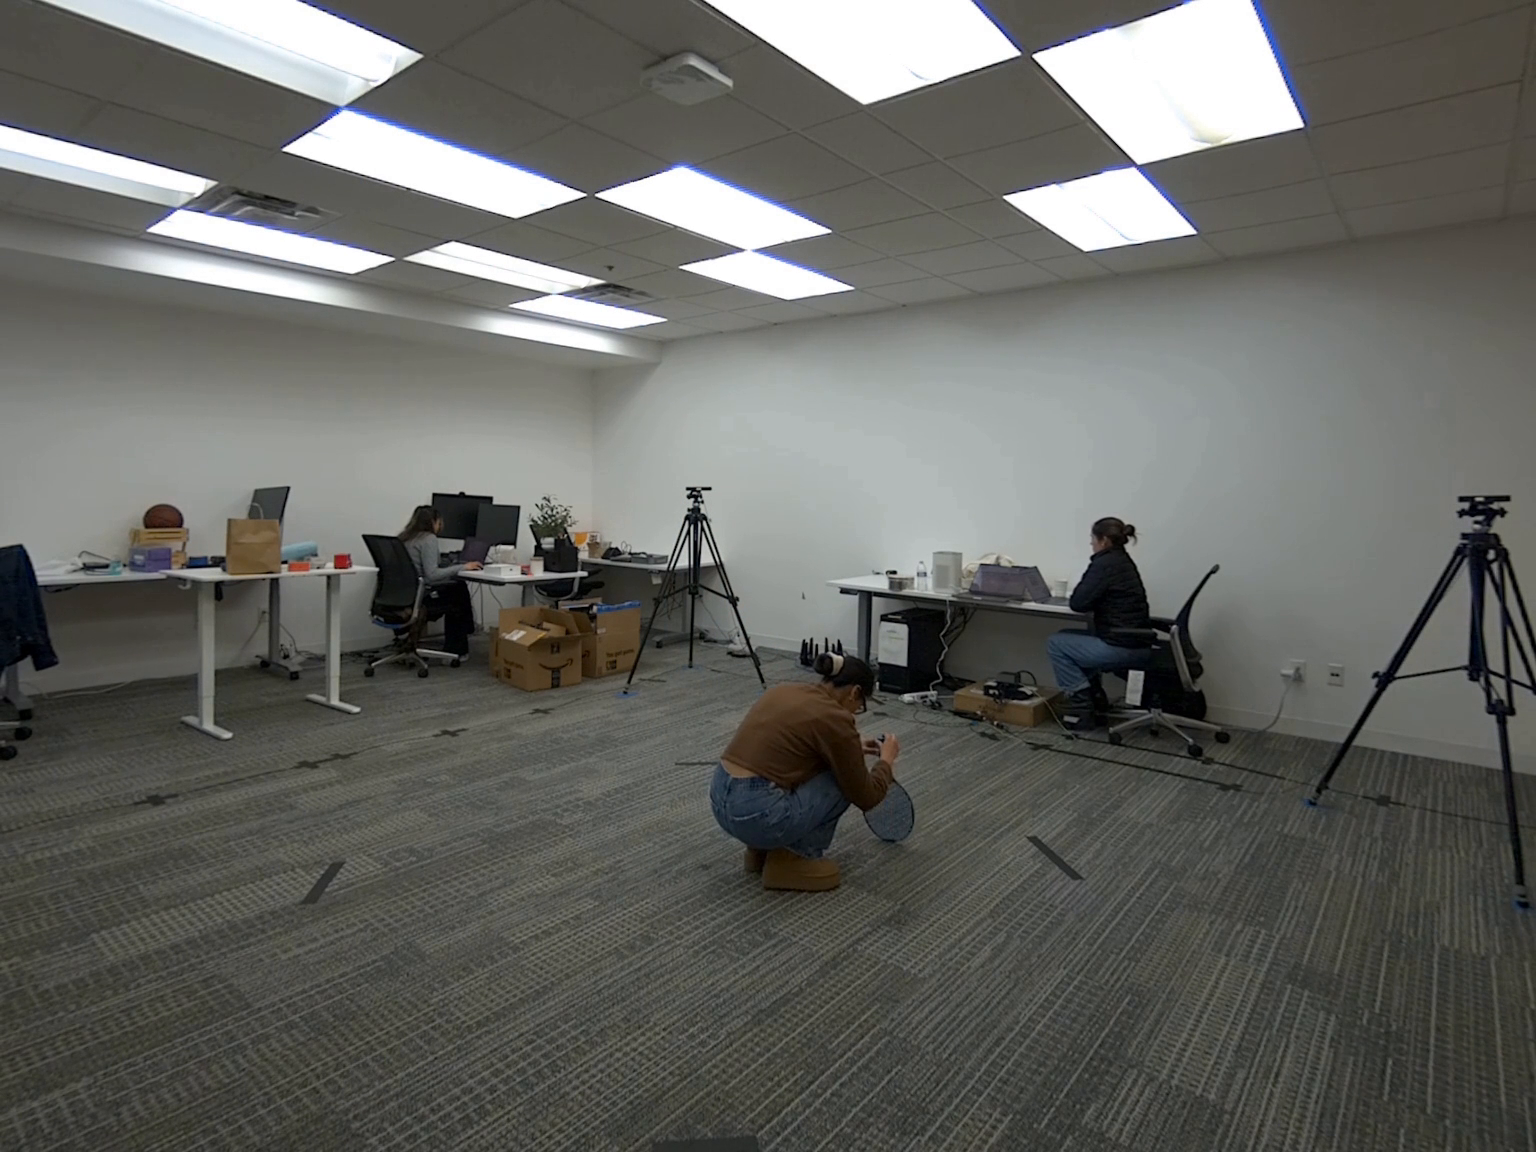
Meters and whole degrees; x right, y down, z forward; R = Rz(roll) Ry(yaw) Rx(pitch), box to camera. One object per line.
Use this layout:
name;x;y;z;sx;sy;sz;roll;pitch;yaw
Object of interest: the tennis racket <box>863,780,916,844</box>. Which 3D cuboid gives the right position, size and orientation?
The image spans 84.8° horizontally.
tennis racket;0.458;0.837;3.349;0.219;0.429;0.031;-1;8;26
